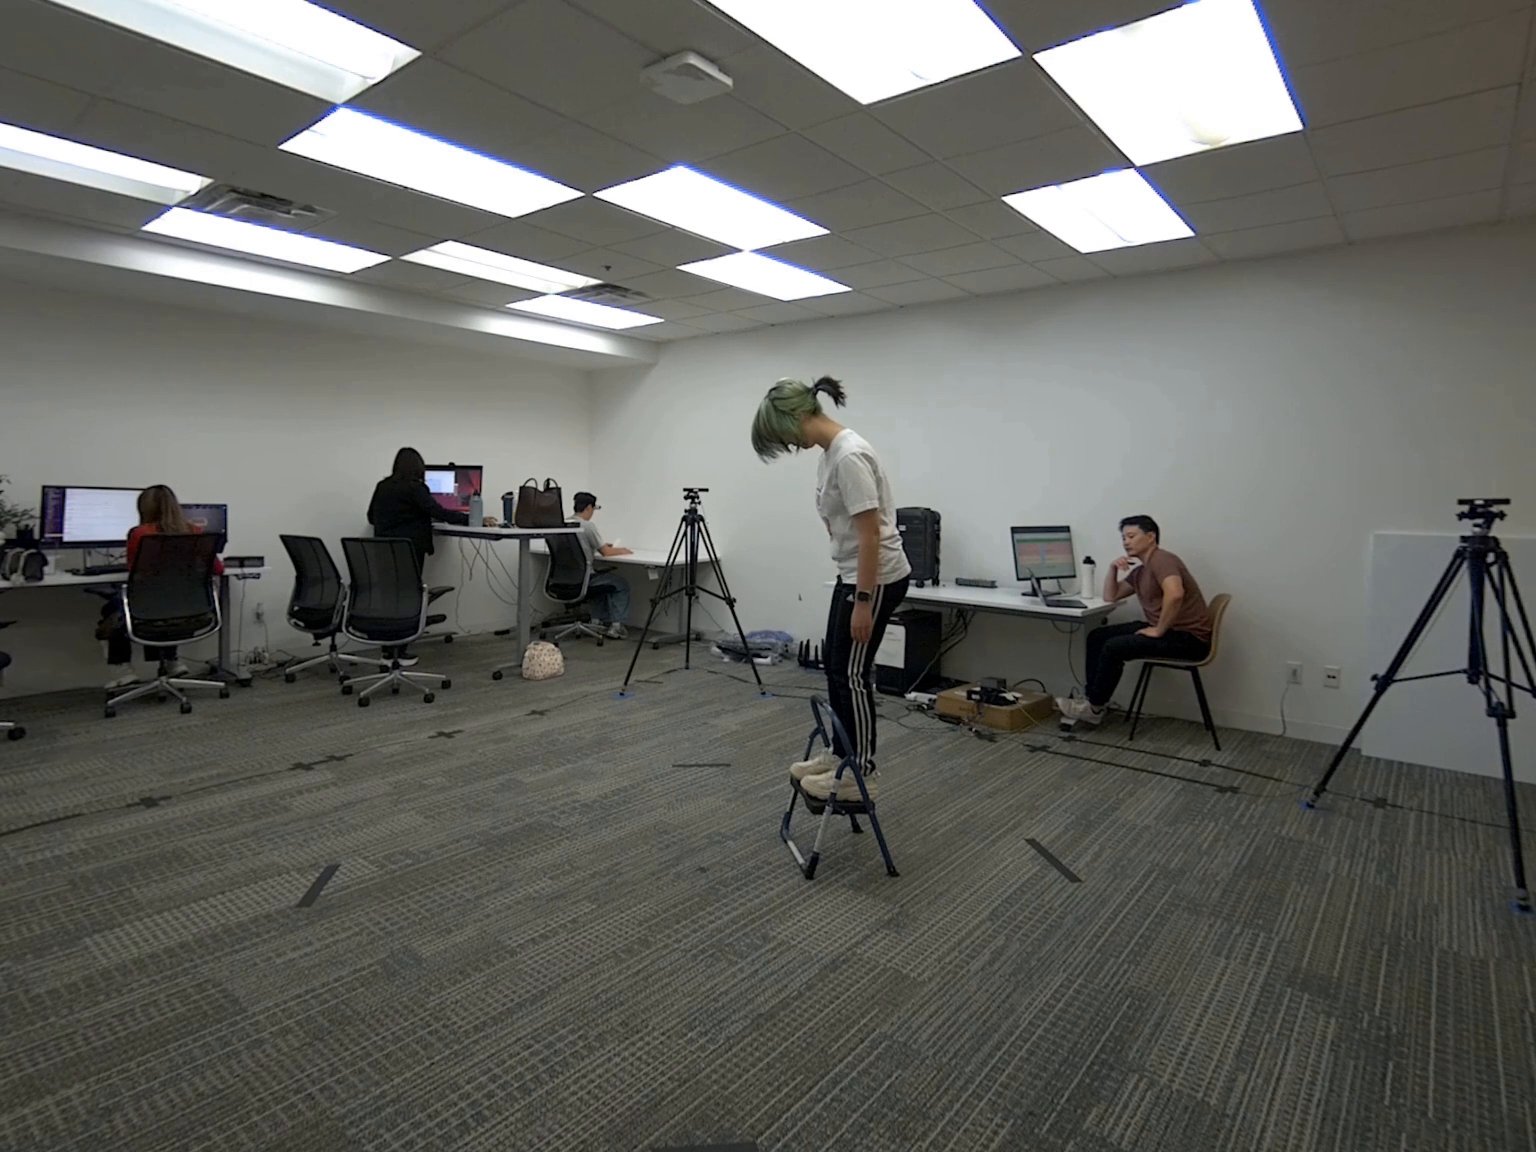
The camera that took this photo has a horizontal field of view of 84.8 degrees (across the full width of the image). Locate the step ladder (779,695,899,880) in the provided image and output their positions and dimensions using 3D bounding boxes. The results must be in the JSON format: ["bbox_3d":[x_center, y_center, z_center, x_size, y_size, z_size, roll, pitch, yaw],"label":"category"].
[{"bbox_3d":[0.258,0.766,3.255,0.345,0.604,0.437,1,3,-12],"label":"step ladder"}]
